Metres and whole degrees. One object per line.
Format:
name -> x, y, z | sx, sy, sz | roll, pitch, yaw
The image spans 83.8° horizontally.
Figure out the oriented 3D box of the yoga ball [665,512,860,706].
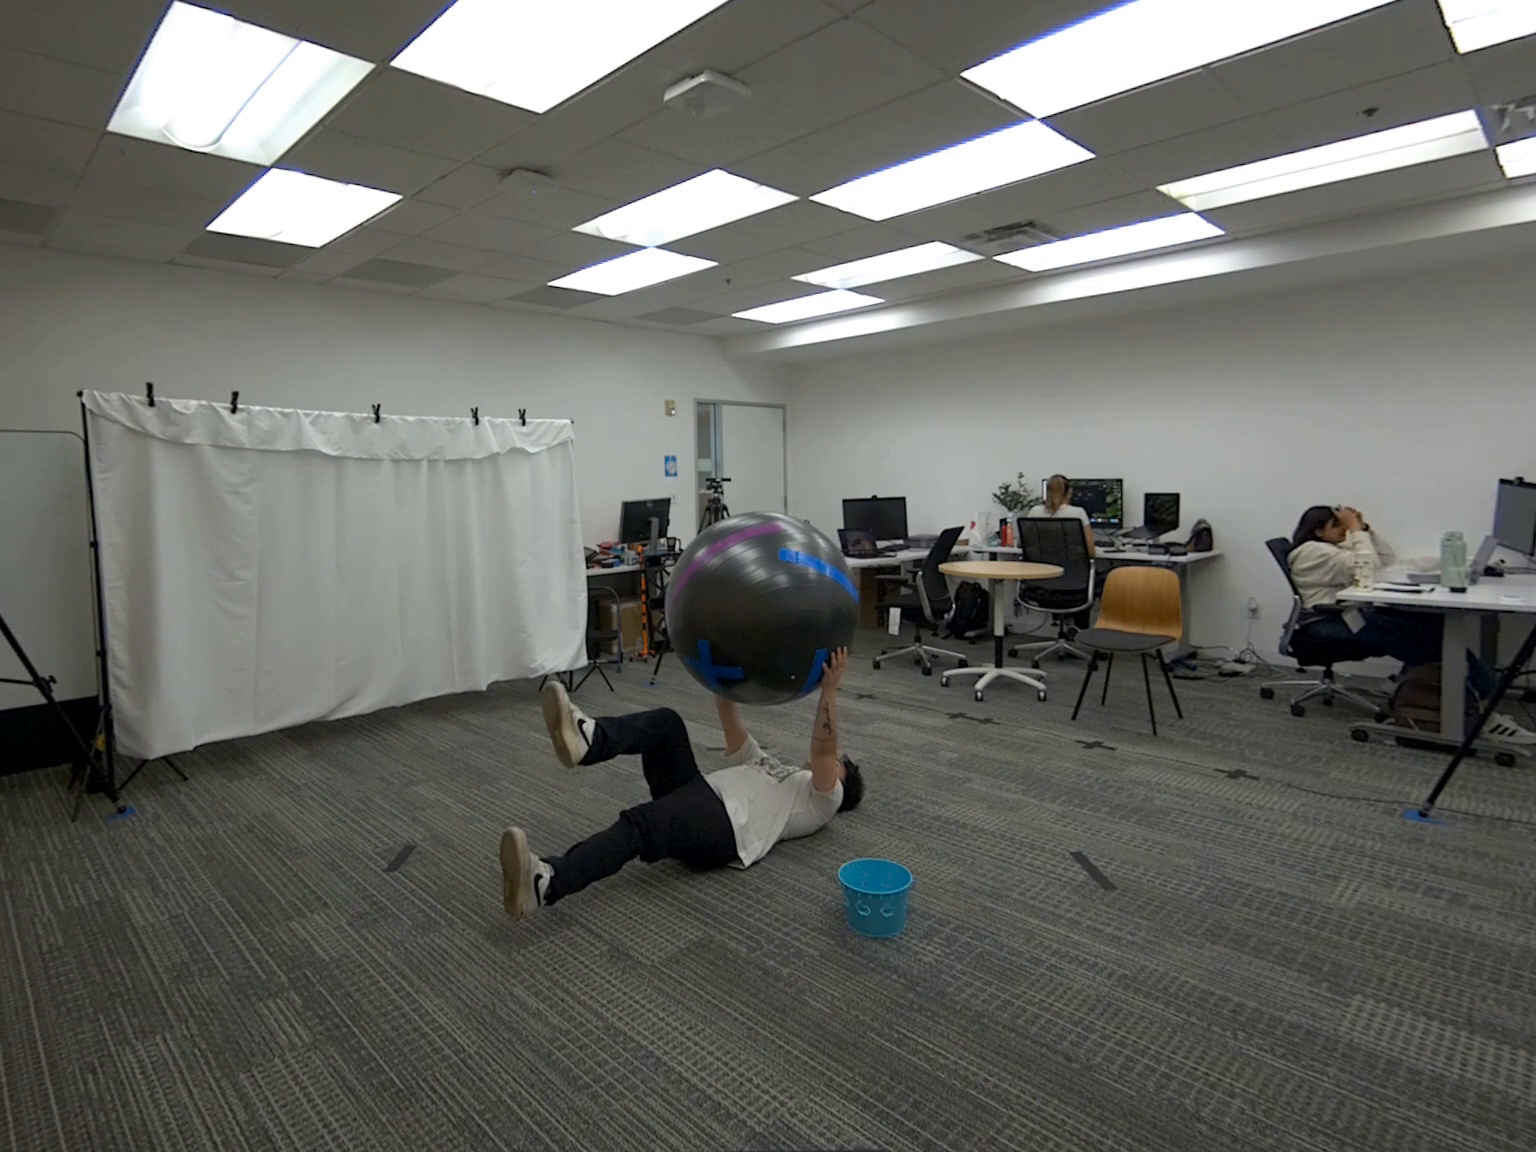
yoga ball -> -0.026, 0.131, 3.354 | 0.757, 0.755, 0.762 | -1, 5, -2
